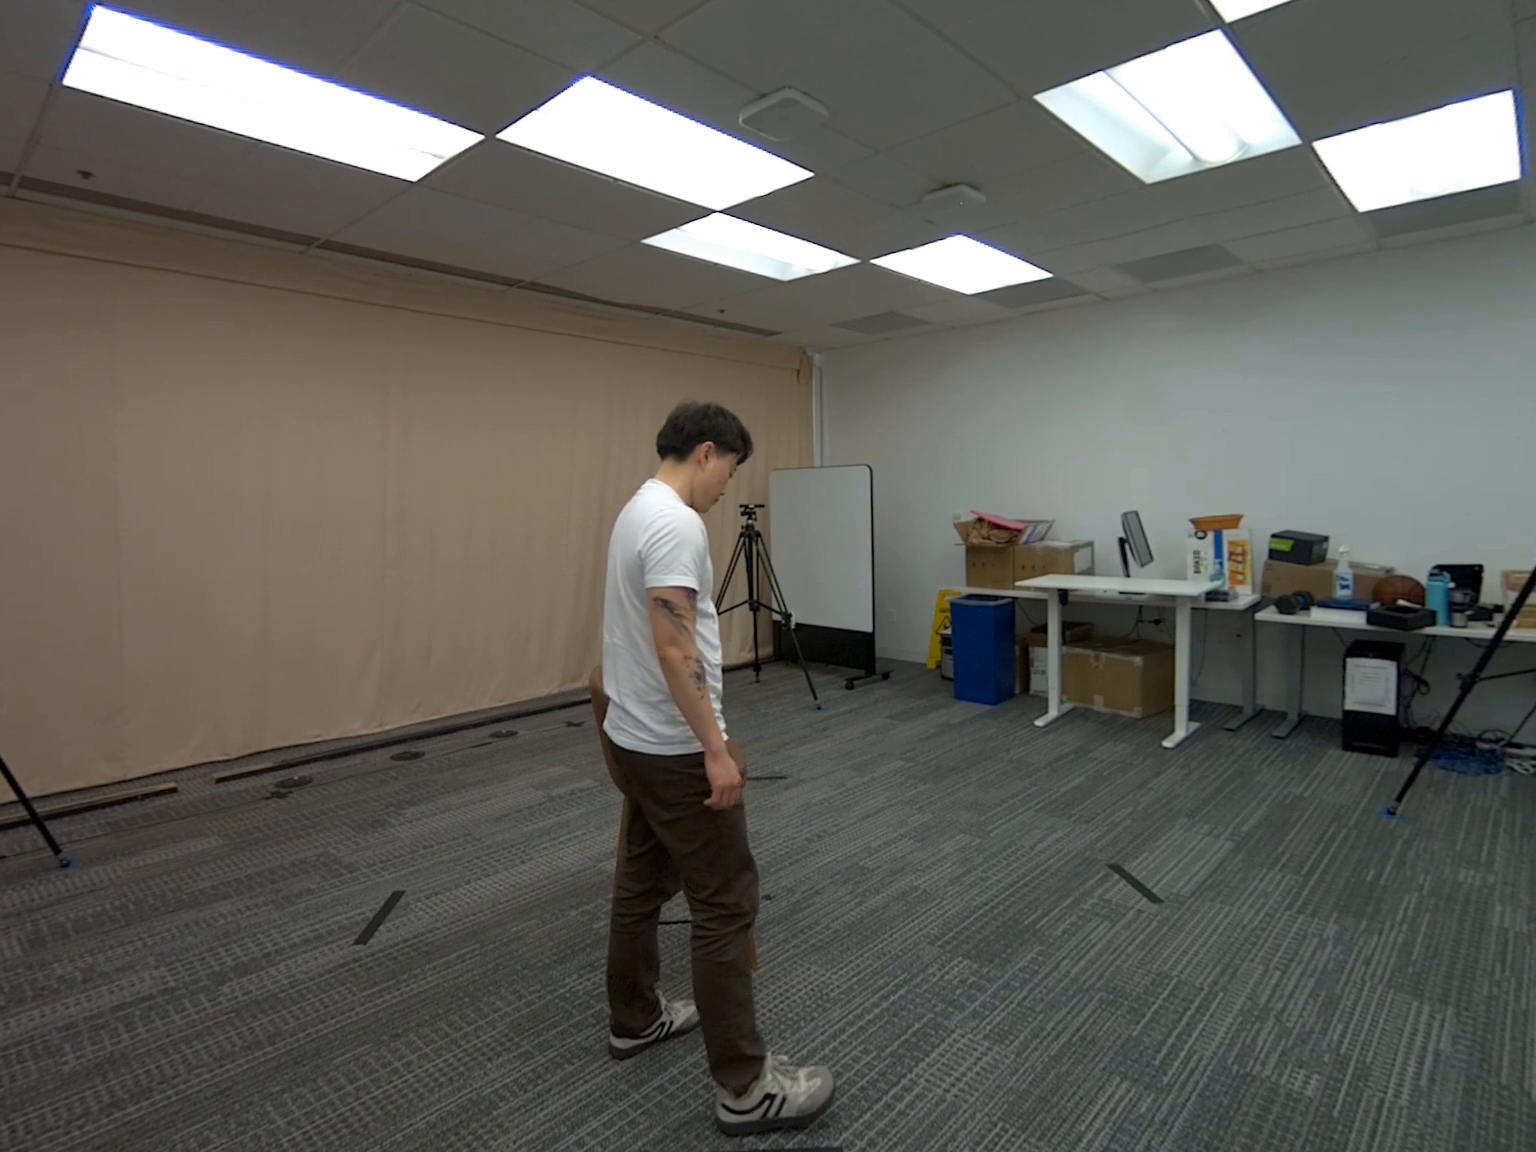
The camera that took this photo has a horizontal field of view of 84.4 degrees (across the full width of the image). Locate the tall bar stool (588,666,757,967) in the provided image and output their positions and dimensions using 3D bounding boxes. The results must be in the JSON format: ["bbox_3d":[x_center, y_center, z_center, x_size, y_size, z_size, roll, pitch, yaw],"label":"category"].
[{"bbox_3d":[-0.298,0.738,2.681,0.464,0.888,0.461,-3,4,-8],"label":"tall bar stool"}]
